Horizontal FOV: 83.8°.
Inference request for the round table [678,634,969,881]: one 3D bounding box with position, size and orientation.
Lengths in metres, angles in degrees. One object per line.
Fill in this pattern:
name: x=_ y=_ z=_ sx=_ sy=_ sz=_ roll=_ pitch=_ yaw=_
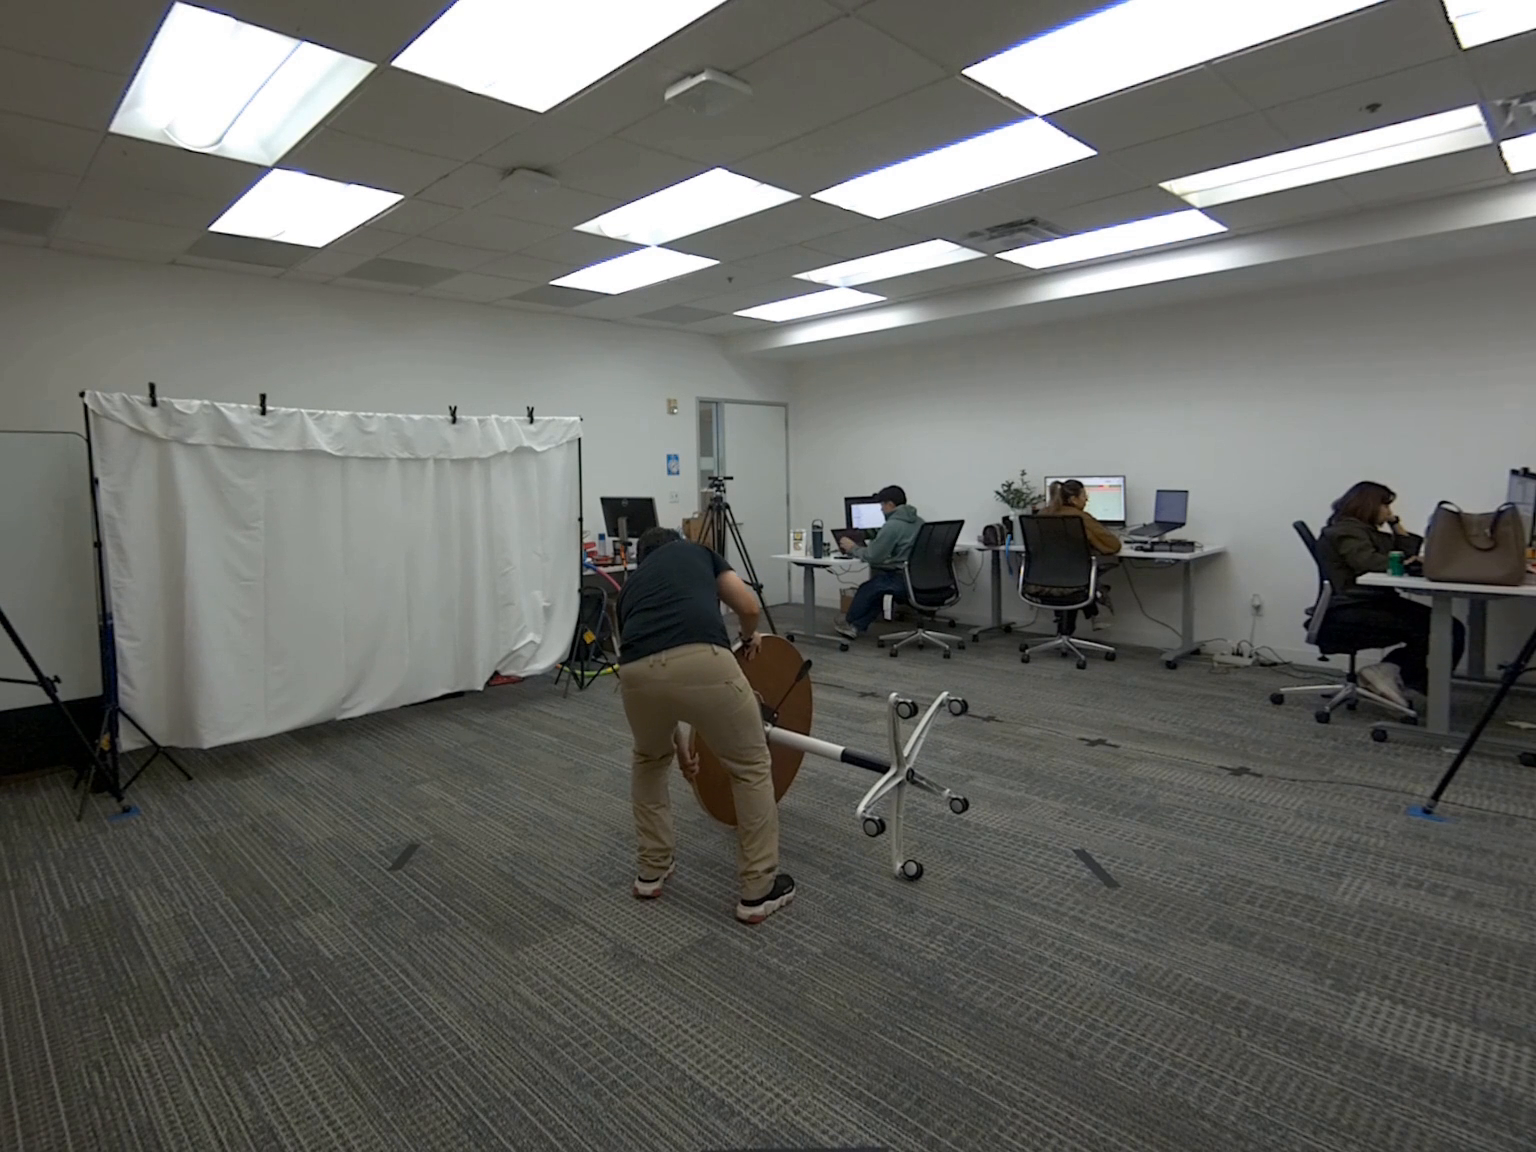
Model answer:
round table: x=0.257 y=0.650 z=3.197 sx=0.811 sy=0.781 sz=0.765 roll=7 pitch=9 yaw=39
